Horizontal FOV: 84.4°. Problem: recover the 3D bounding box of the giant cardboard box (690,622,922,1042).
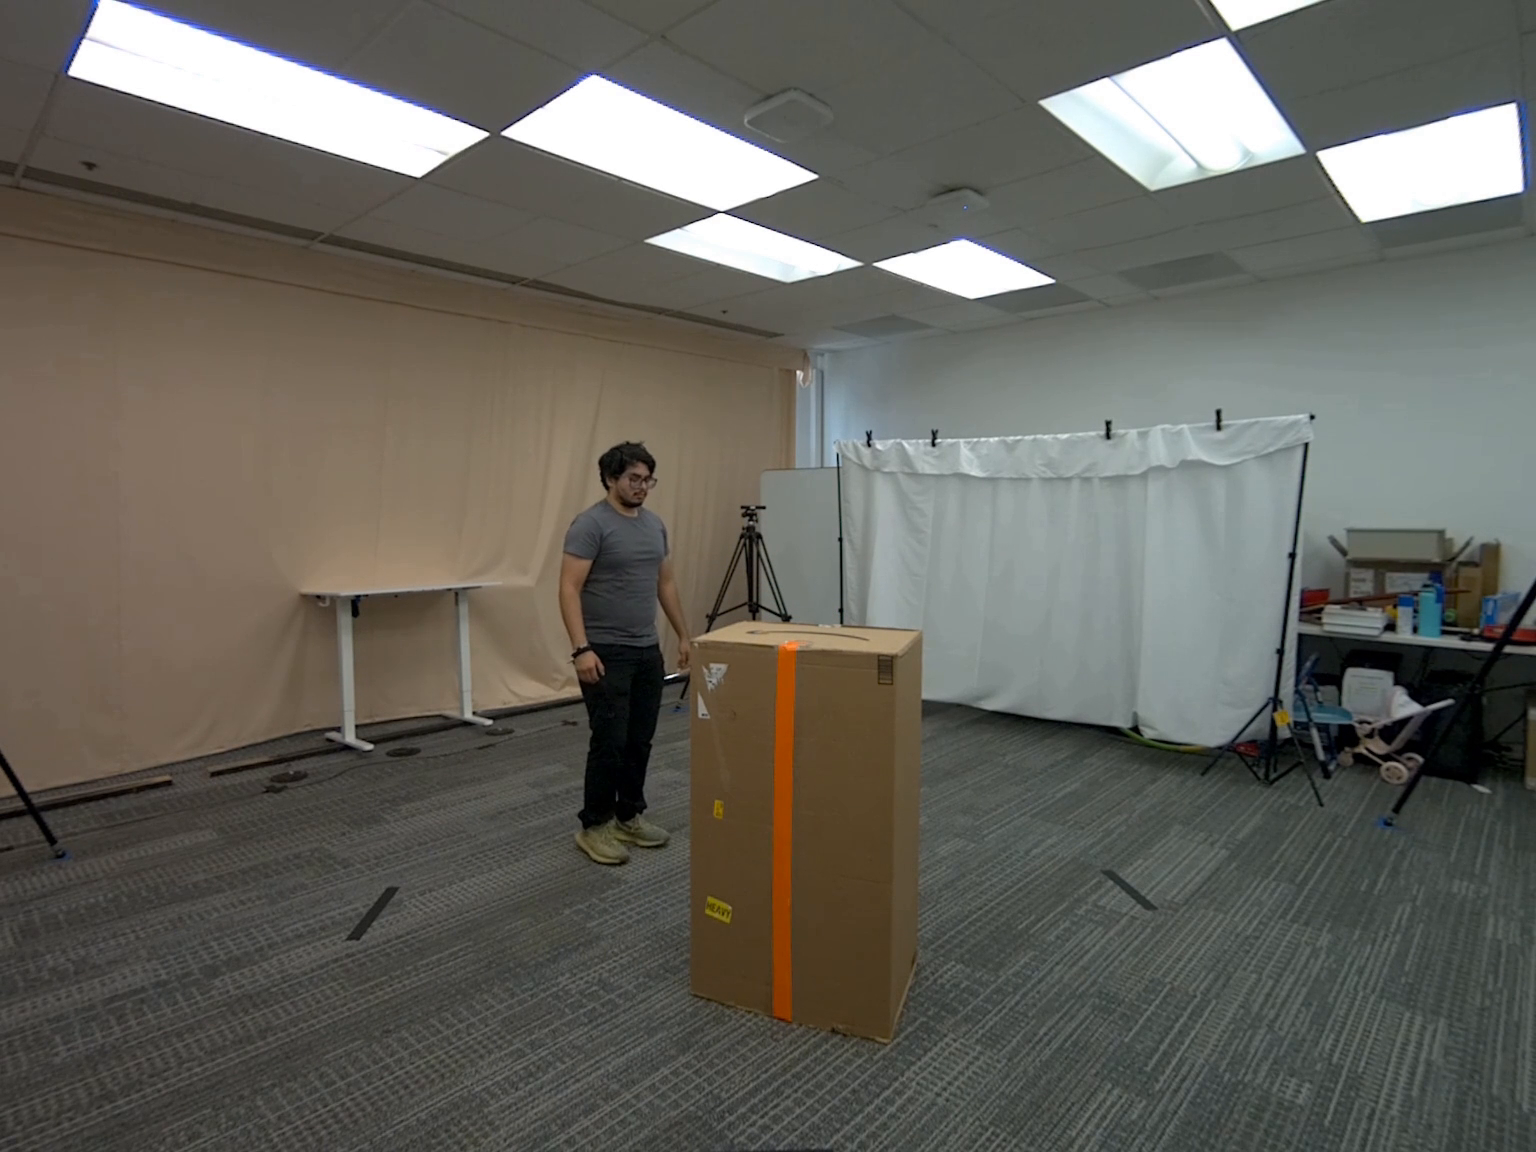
[{"bbox_3d":[0.123,0.680,2.448,0.591,1.024,0.417,2,3,23],"label":"giant cardboard box"}]
